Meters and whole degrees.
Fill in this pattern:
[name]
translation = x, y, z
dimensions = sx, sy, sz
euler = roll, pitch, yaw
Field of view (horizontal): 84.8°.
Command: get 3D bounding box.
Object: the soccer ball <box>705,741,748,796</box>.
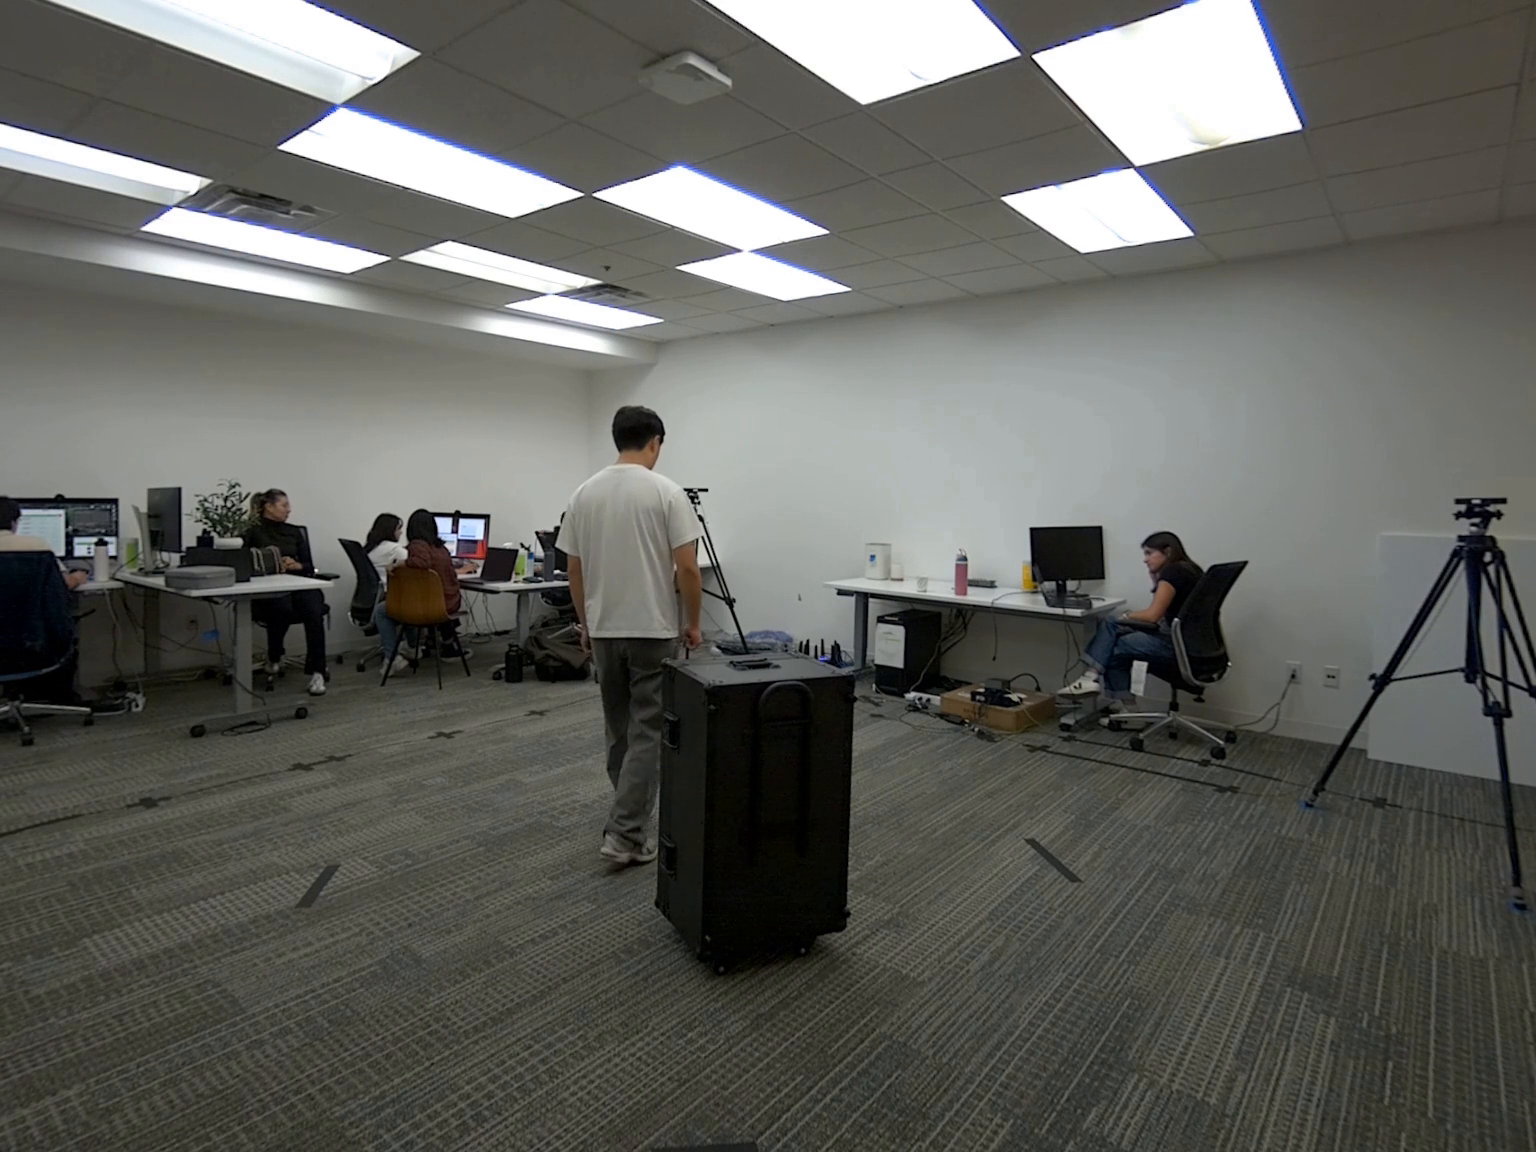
[soccer ball]
translation = -0.197, 0.887, 3.899
dimensions = 0.187, 0.187, 0.188
euler = 1, 4, -2
